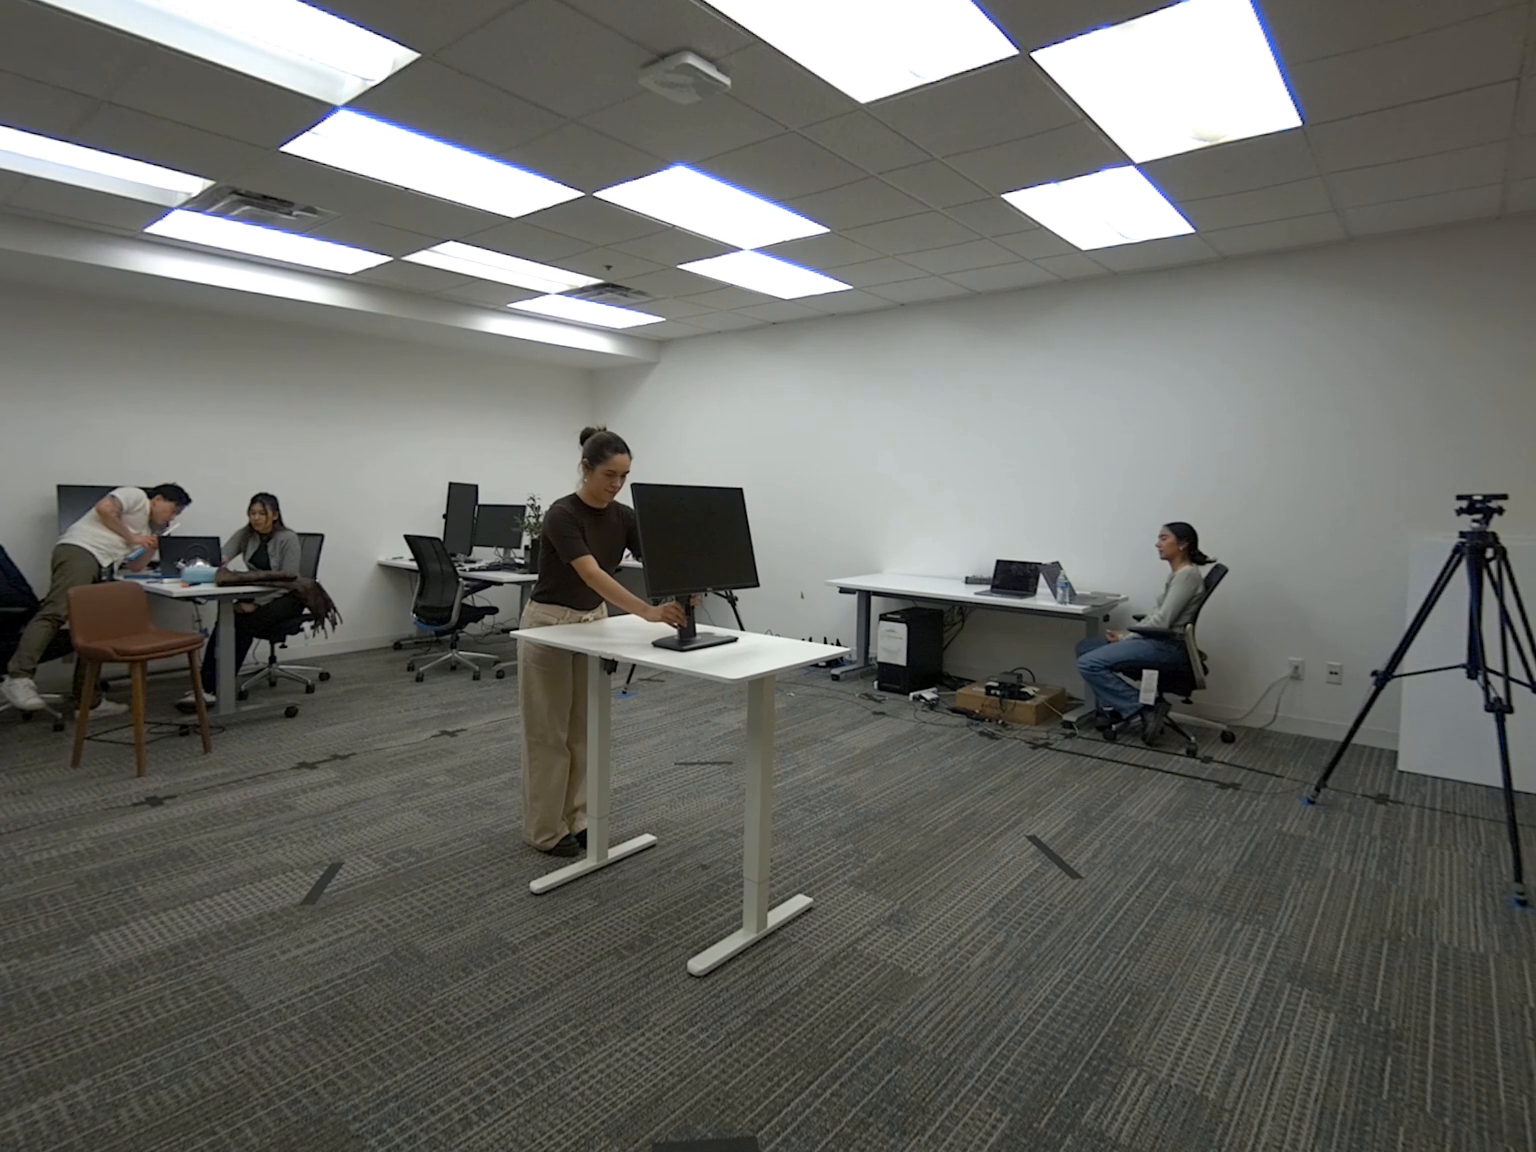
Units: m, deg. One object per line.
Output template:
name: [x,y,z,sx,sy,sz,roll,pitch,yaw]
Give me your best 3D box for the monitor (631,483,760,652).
monitor: [-0.253,-0.038,2.761,0.180,0.514,0.514,6,5,36]
